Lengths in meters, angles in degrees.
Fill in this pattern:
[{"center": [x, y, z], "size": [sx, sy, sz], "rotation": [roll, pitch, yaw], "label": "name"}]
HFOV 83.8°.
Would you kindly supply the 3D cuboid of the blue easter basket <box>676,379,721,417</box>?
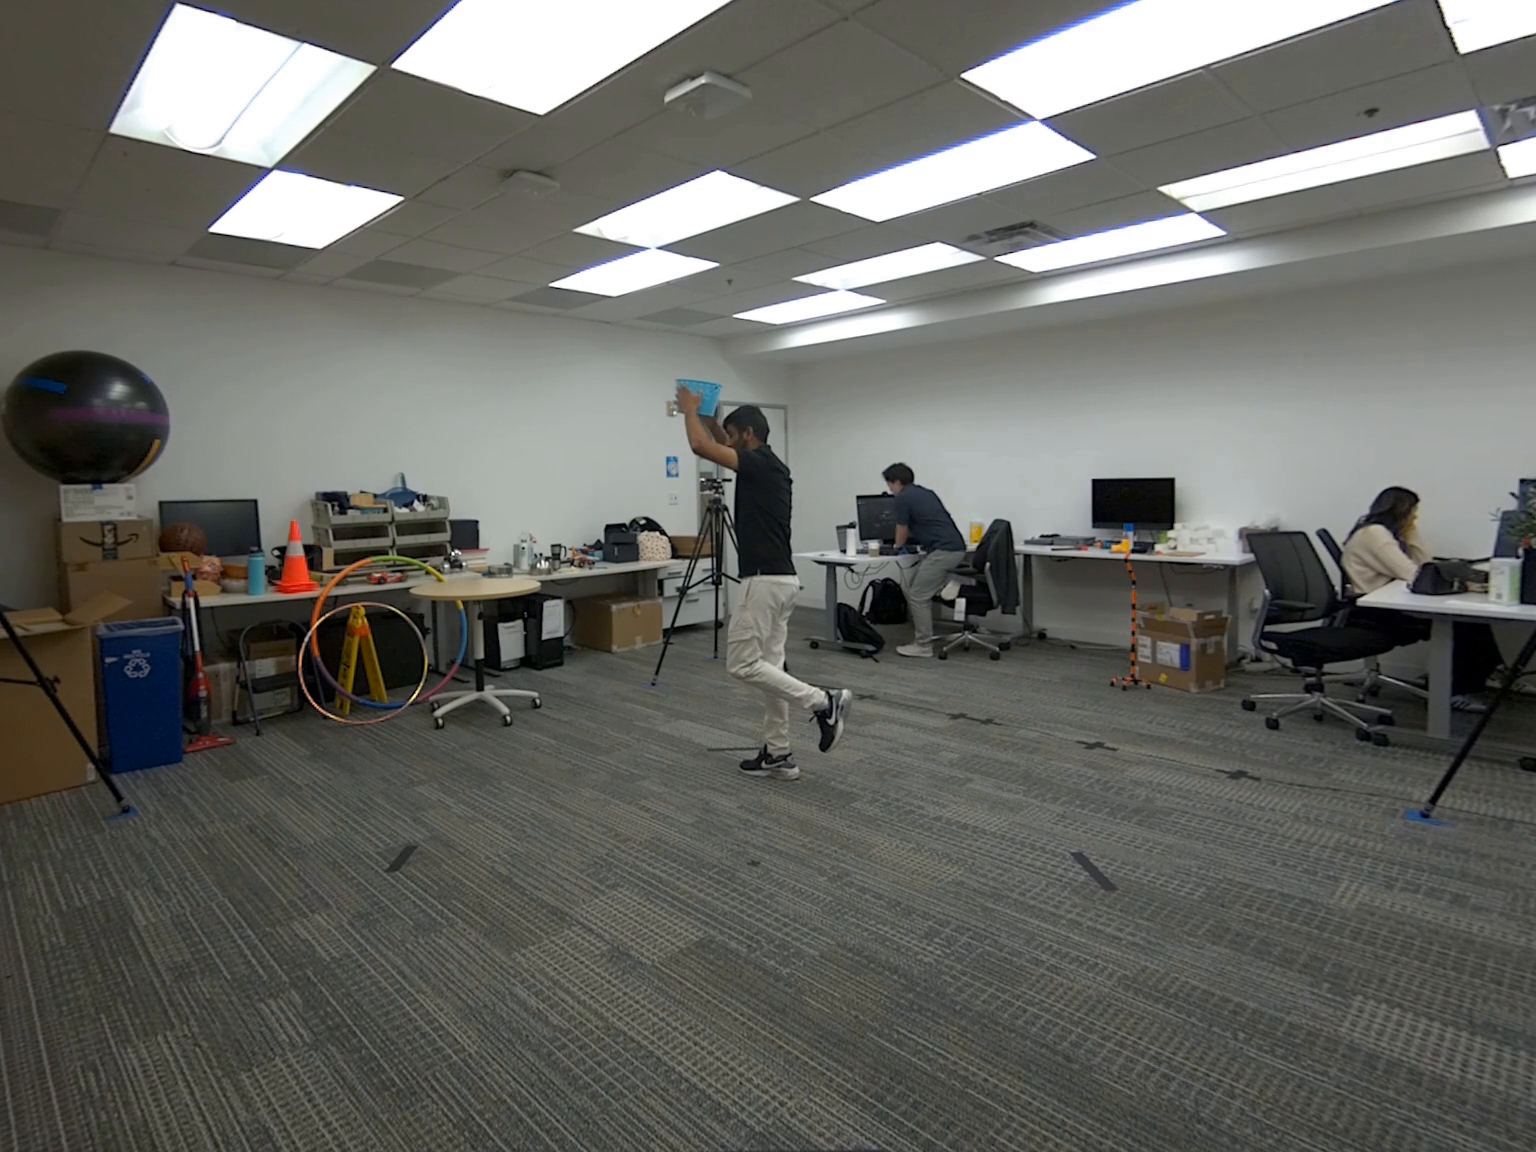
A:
[{"center": [-0.344, -0.859, 4.103], "size": [0.243, 0.155, 0.245], "rotation": [8, 7, -3], "label": "blue easter basket"}]
